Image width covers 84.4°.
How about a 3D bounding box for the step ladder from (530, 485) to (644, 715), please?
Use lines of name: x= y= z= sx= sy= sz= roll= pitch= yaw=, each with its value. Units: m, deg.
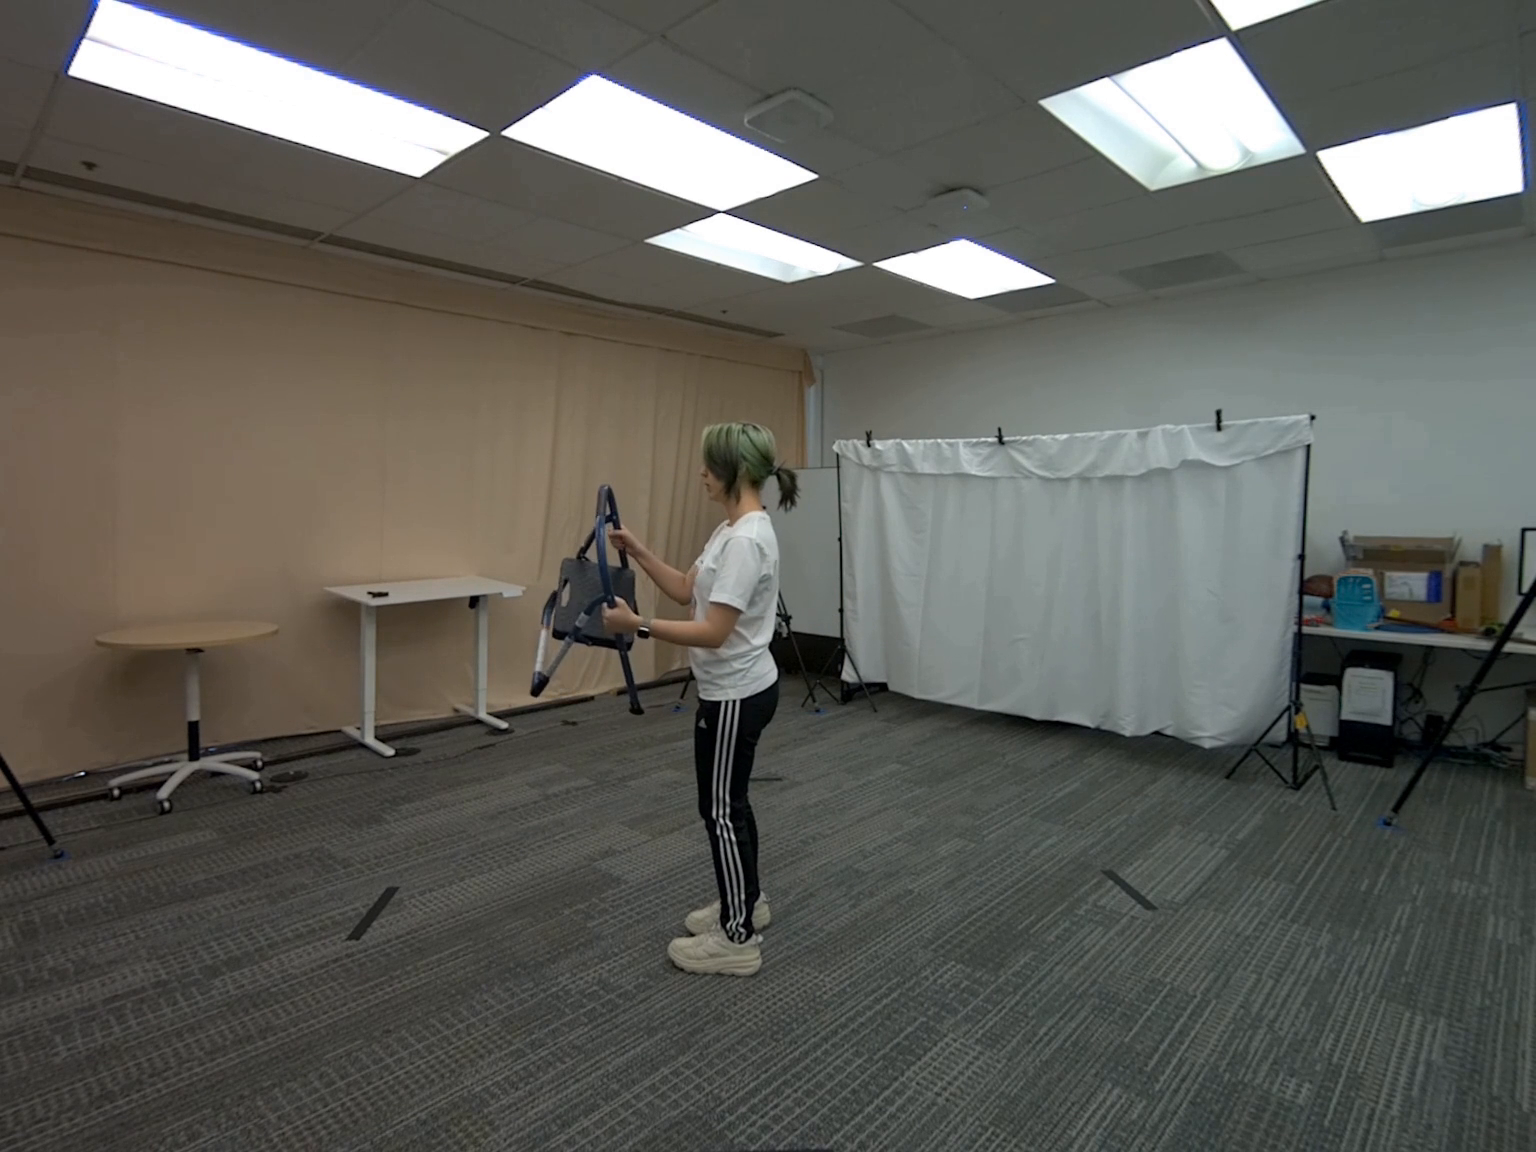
step ladder: x=-0.488 y=0.041 z=2.576 sx=0.344 sy=0.602 sz=0.440 roll=9 pitch=36 yaw=-15
